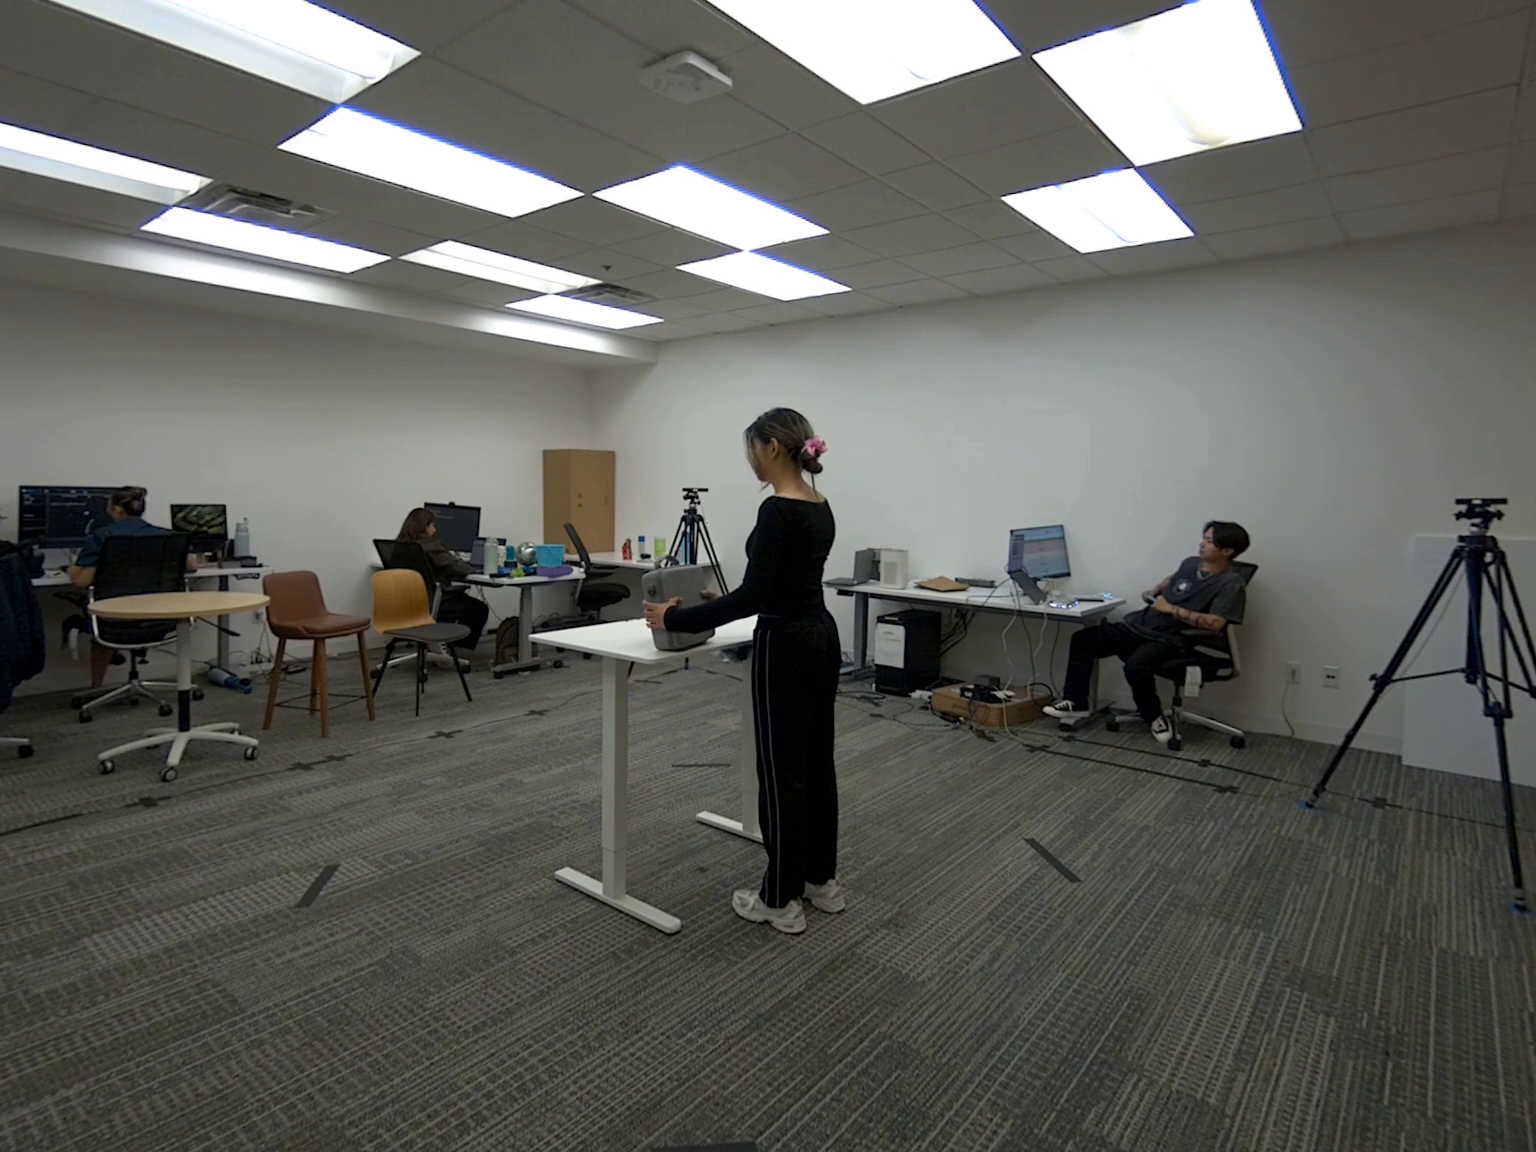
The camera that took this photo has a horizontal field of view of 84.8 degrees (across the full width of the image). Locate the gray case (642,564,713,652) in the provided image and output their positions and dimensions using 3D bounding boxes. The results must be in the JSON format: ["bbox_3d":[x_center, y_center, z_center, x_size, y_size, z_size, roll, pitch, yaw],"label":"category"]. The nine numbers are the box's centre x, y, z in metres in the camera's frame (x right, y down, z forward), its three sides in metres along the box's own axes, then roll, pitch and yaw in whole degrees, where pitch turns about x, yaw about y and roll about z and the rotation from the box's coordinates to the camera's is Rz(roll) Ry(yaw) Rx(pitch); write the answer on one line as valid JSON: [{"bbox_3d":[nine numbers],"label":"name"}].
[{"bbox_3d":[-0.294,0.094,2.734,0.106,0.261,0.251,-13,-2,26],"label":"gray case"}]
